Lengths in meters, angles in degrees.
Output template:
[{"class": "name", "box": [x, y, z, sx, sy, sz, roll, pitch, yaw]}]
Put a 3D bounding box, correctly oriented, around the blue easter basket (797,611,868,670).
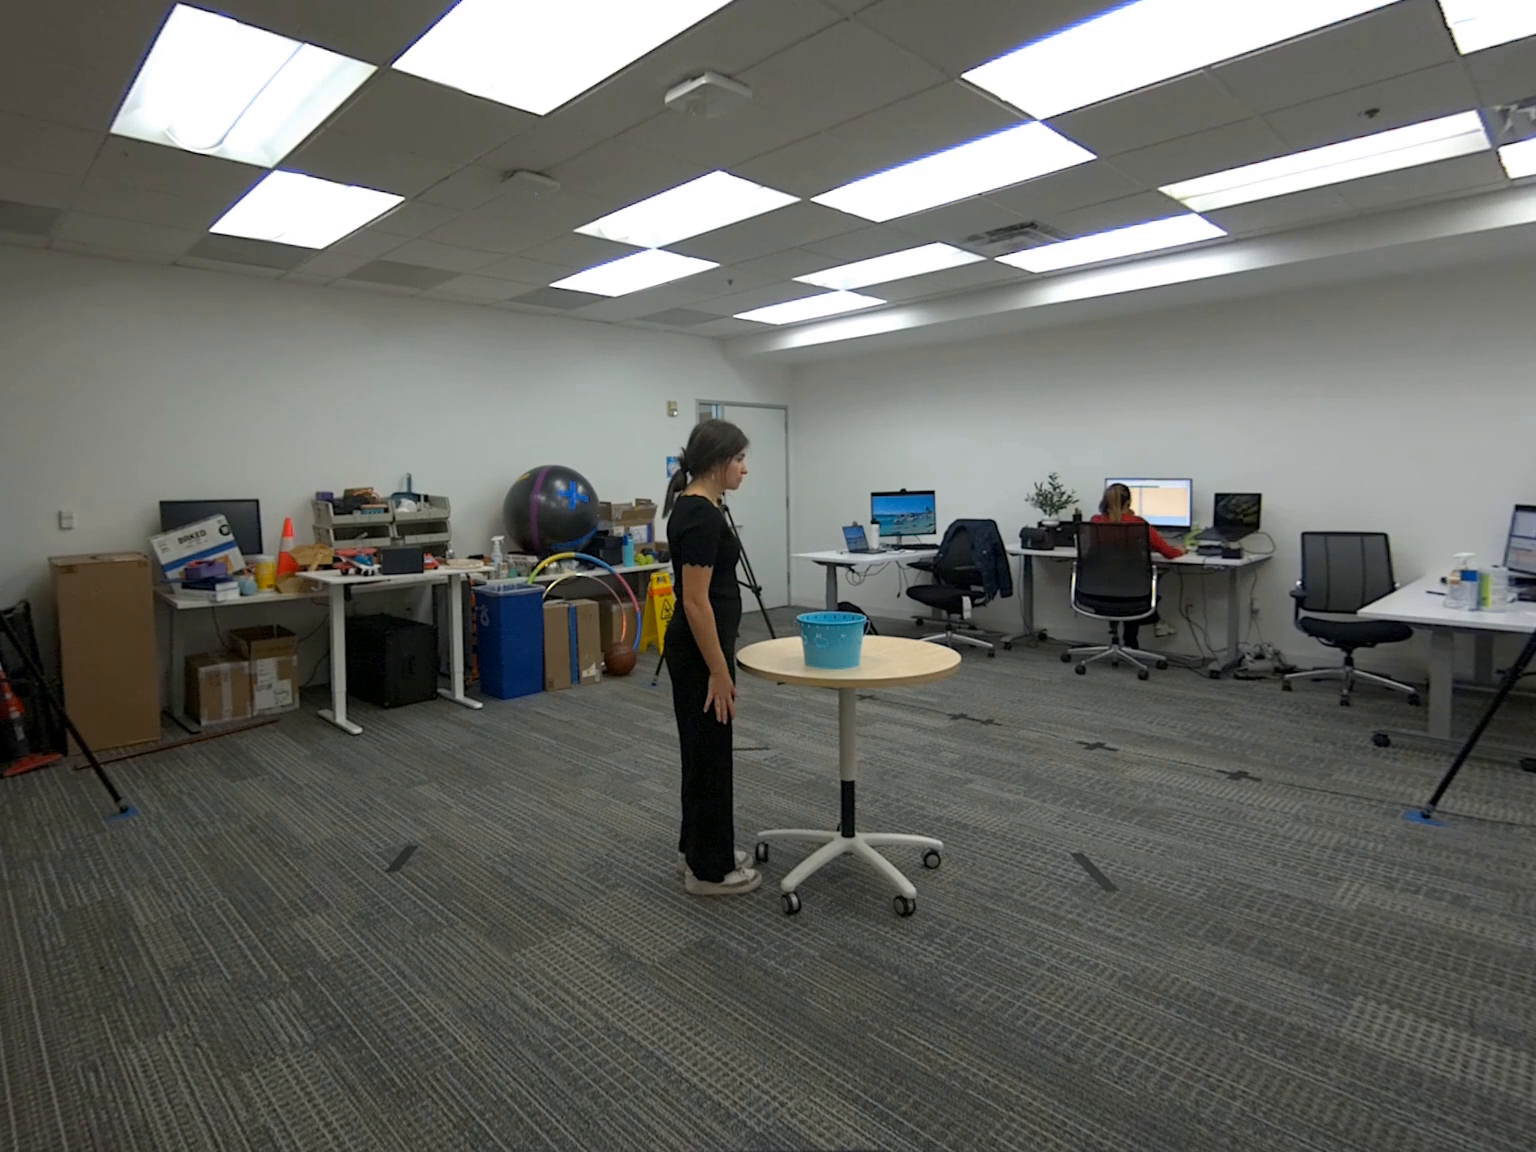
[{"class": "blue easter basket", "box": [0.215, 0.210, 2.819, 0.243, 0.155, 0.245, -1, 6, -2]}]
